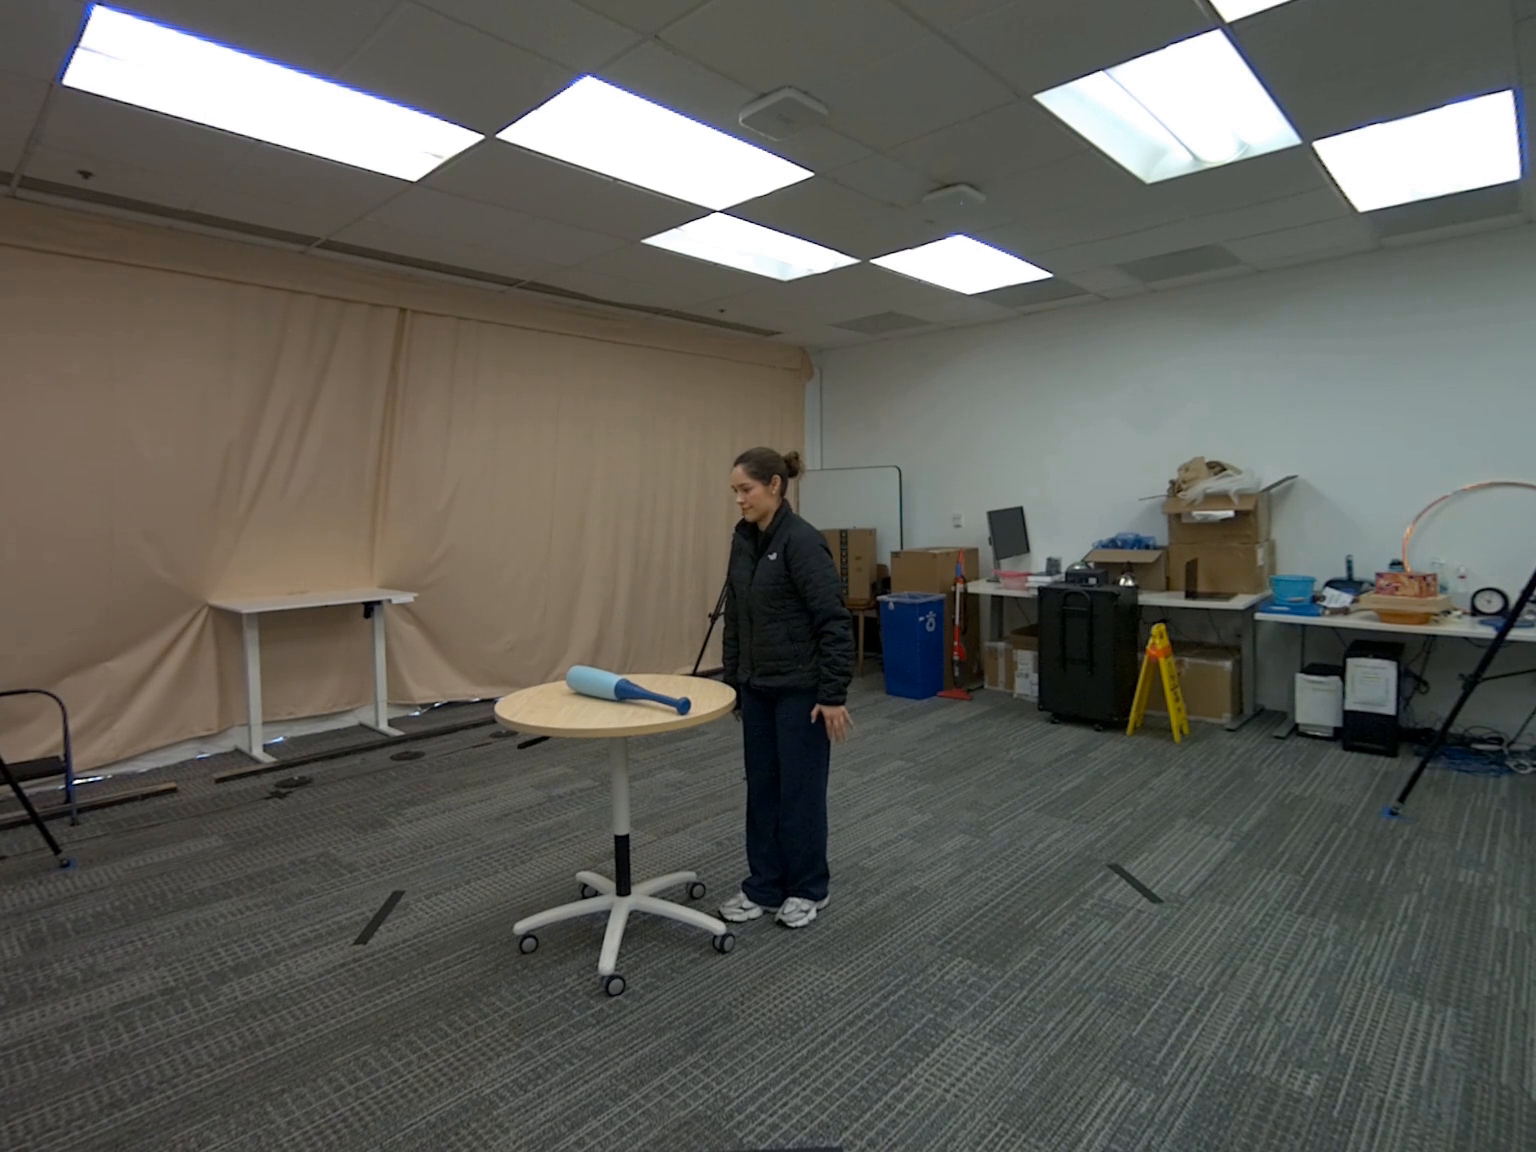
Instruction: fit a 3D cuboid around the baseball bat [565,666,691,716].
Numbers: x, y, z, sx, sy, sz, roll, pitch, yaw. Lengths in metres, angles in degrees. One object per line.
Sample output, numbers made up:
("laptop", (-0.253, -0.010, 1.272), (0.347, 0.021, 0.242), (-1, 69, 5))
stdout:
("baseball bat", (-0.422, 0.360, 2.629), (0.561, 0.089, 0.086), (5, 7, 42))
